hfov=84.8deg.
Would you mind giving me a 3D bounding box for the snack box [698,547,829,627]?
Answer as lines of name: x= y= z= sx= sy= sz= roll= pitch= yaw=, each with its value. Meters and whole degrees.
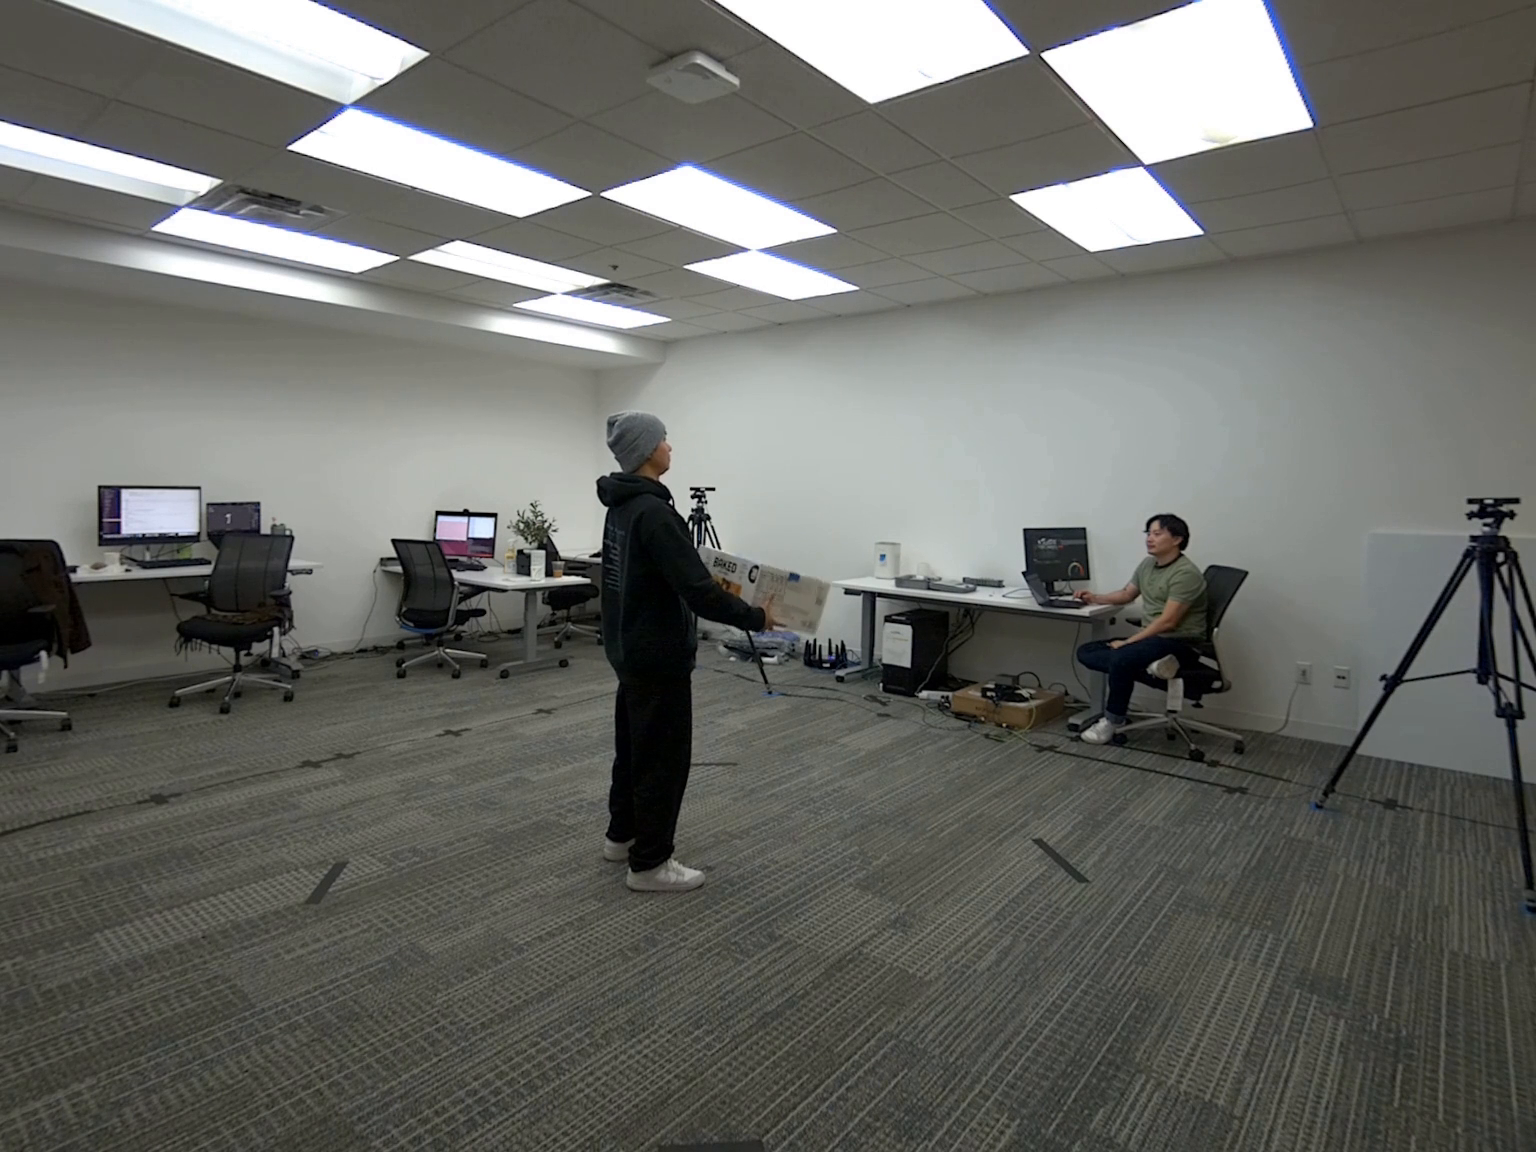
snack box: x=-0.056 y=-0.012 z=3.199 sx=0.328 sy=0.205 sz=0.420 roll=15 pitch=1 yaw=-36
